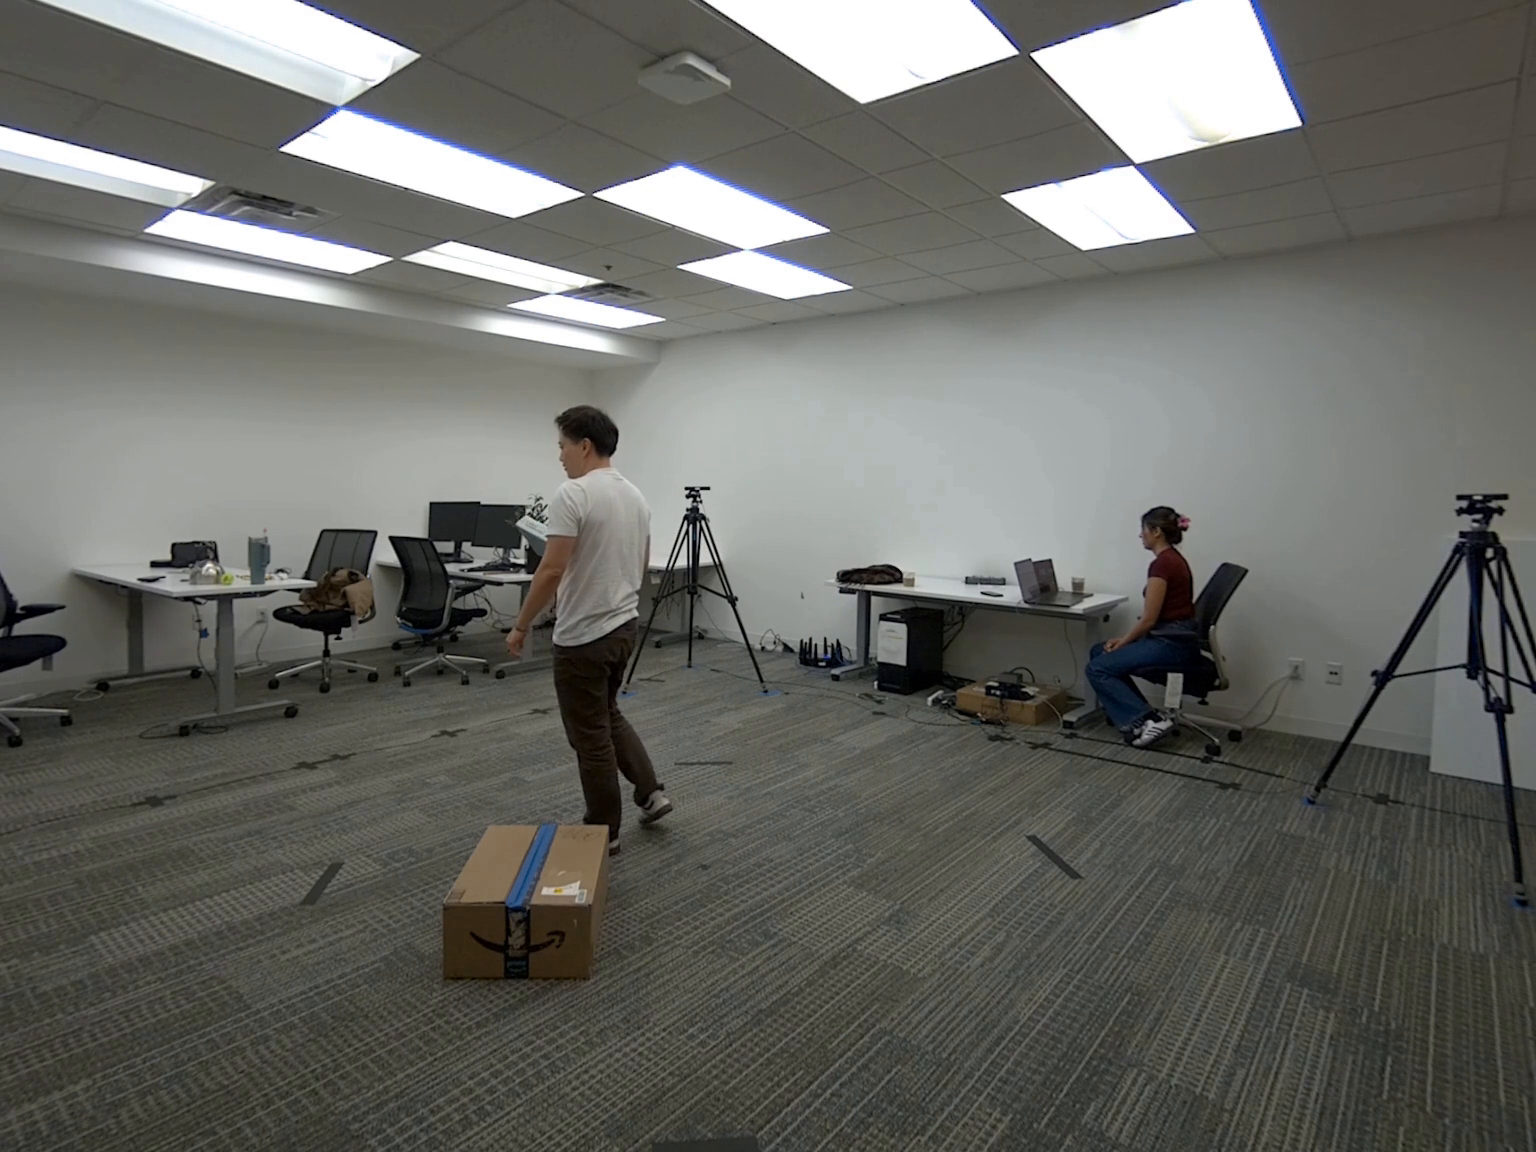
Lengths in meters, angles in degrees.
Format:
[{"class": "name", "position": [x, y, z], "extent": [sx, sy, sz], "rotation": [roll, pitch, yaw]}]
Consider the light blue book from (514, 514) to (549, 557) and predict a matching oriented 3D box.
[{"class": "light blue book", "position": [-0.897, -0.133, 3.430], "extent": [0.272, 0.059, 0.184], "rotation": [24, -27, 40]}]
